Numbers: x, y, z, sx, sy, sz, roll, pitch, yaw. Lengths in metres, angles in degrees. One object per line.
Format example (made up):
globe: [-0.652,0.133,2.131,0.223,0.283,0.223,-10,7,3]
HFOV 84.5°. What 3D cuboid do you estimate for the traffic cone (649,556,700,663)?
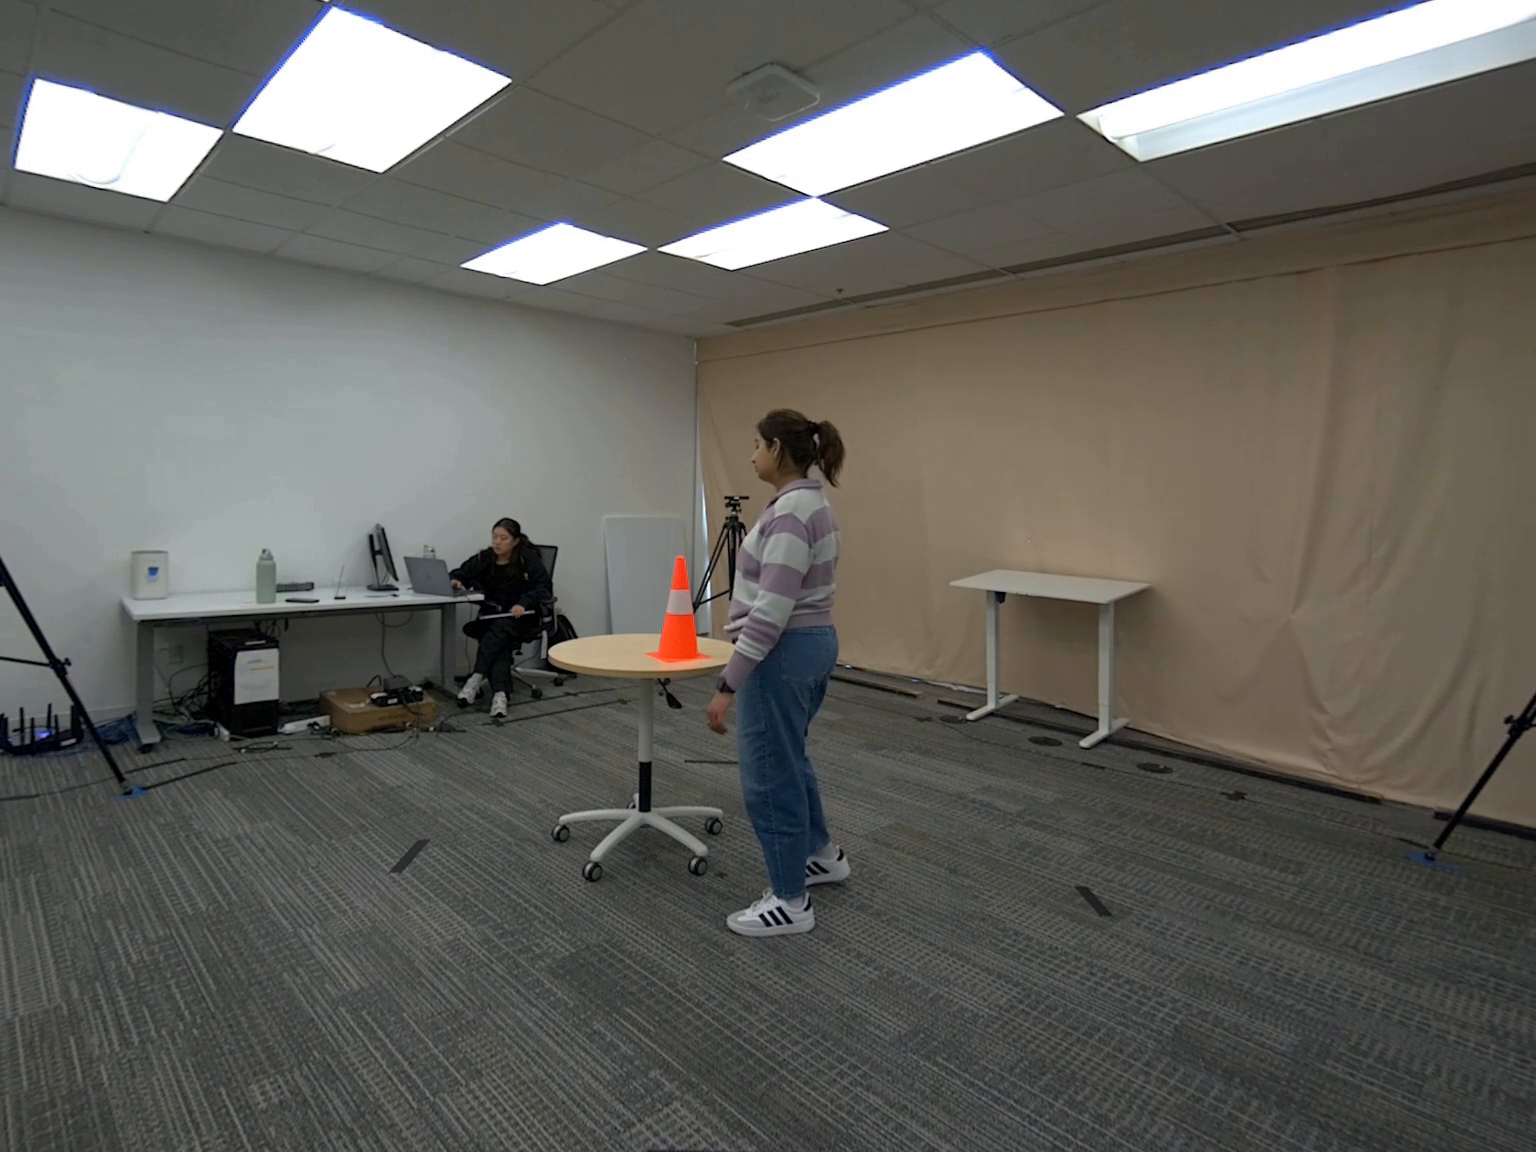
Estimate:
traffic cone: [-0.349,0.120,3.207,0.210,0.383,0.199,3,3,35]
